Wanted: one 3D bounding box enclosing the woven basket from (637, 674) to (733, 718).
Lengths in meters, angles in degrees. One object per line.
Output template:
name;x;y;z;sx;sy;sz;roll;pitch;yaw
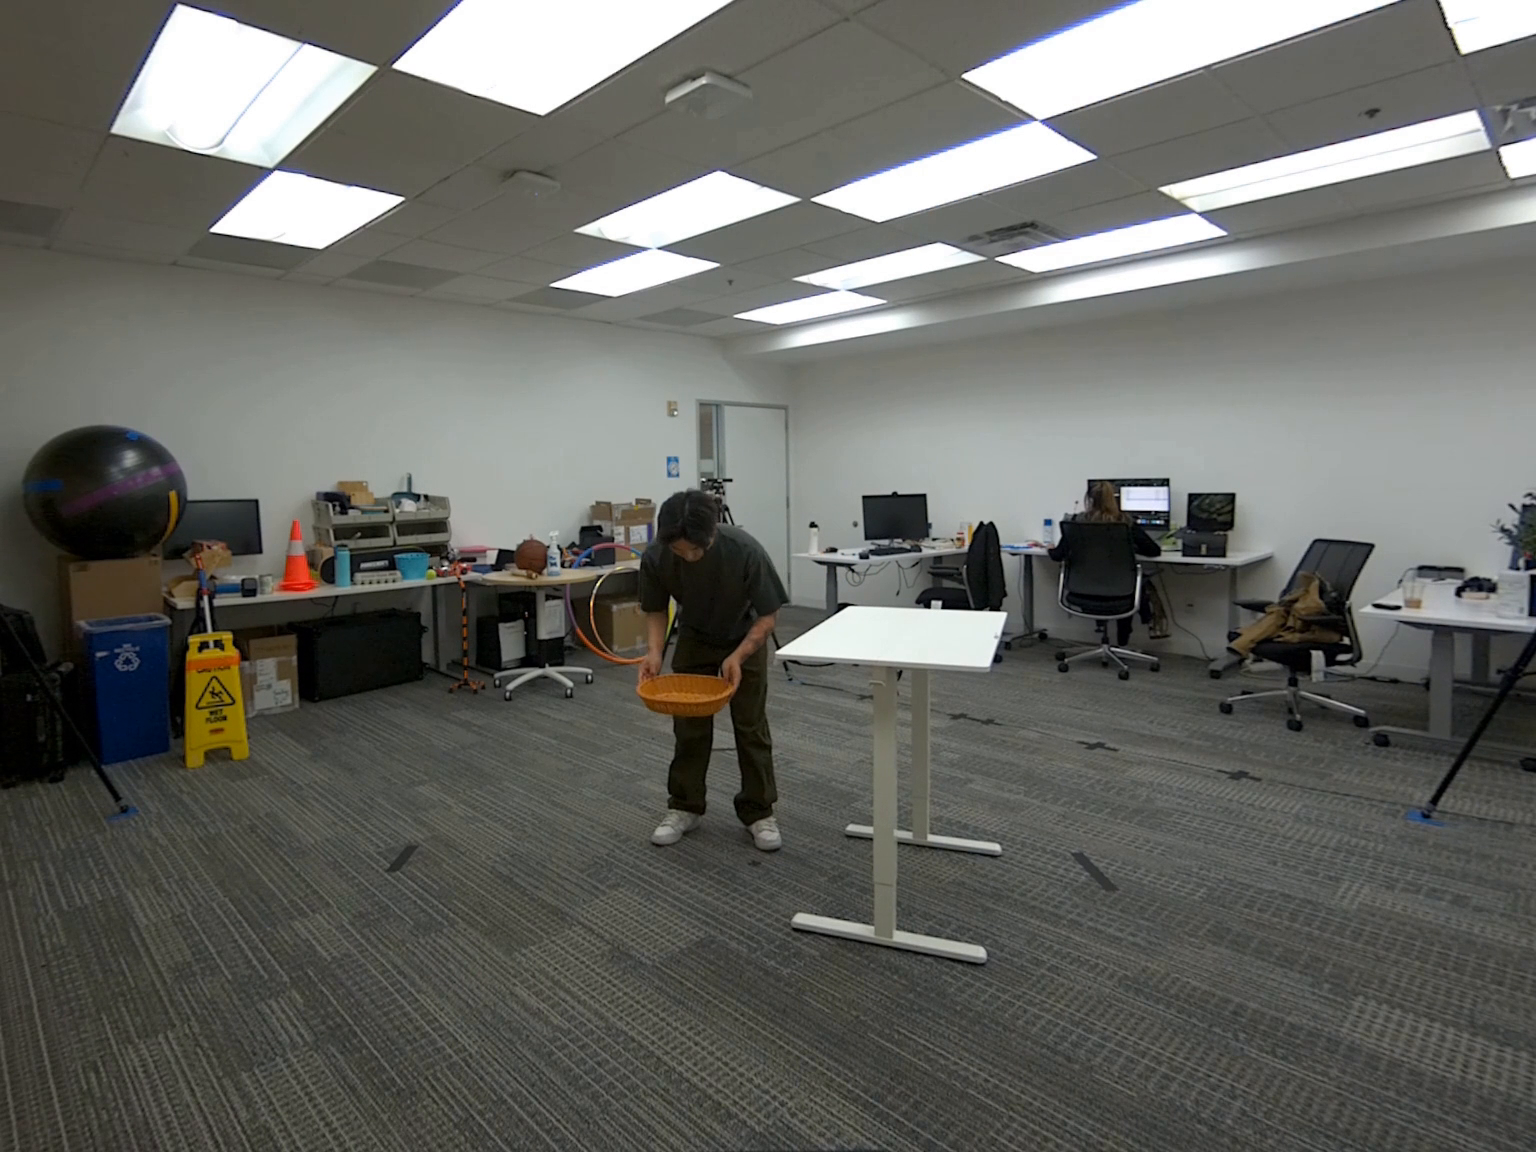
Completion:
woven basket;-0.291;0.428;2.991;0.358;0.072;0.250;2;14;23
